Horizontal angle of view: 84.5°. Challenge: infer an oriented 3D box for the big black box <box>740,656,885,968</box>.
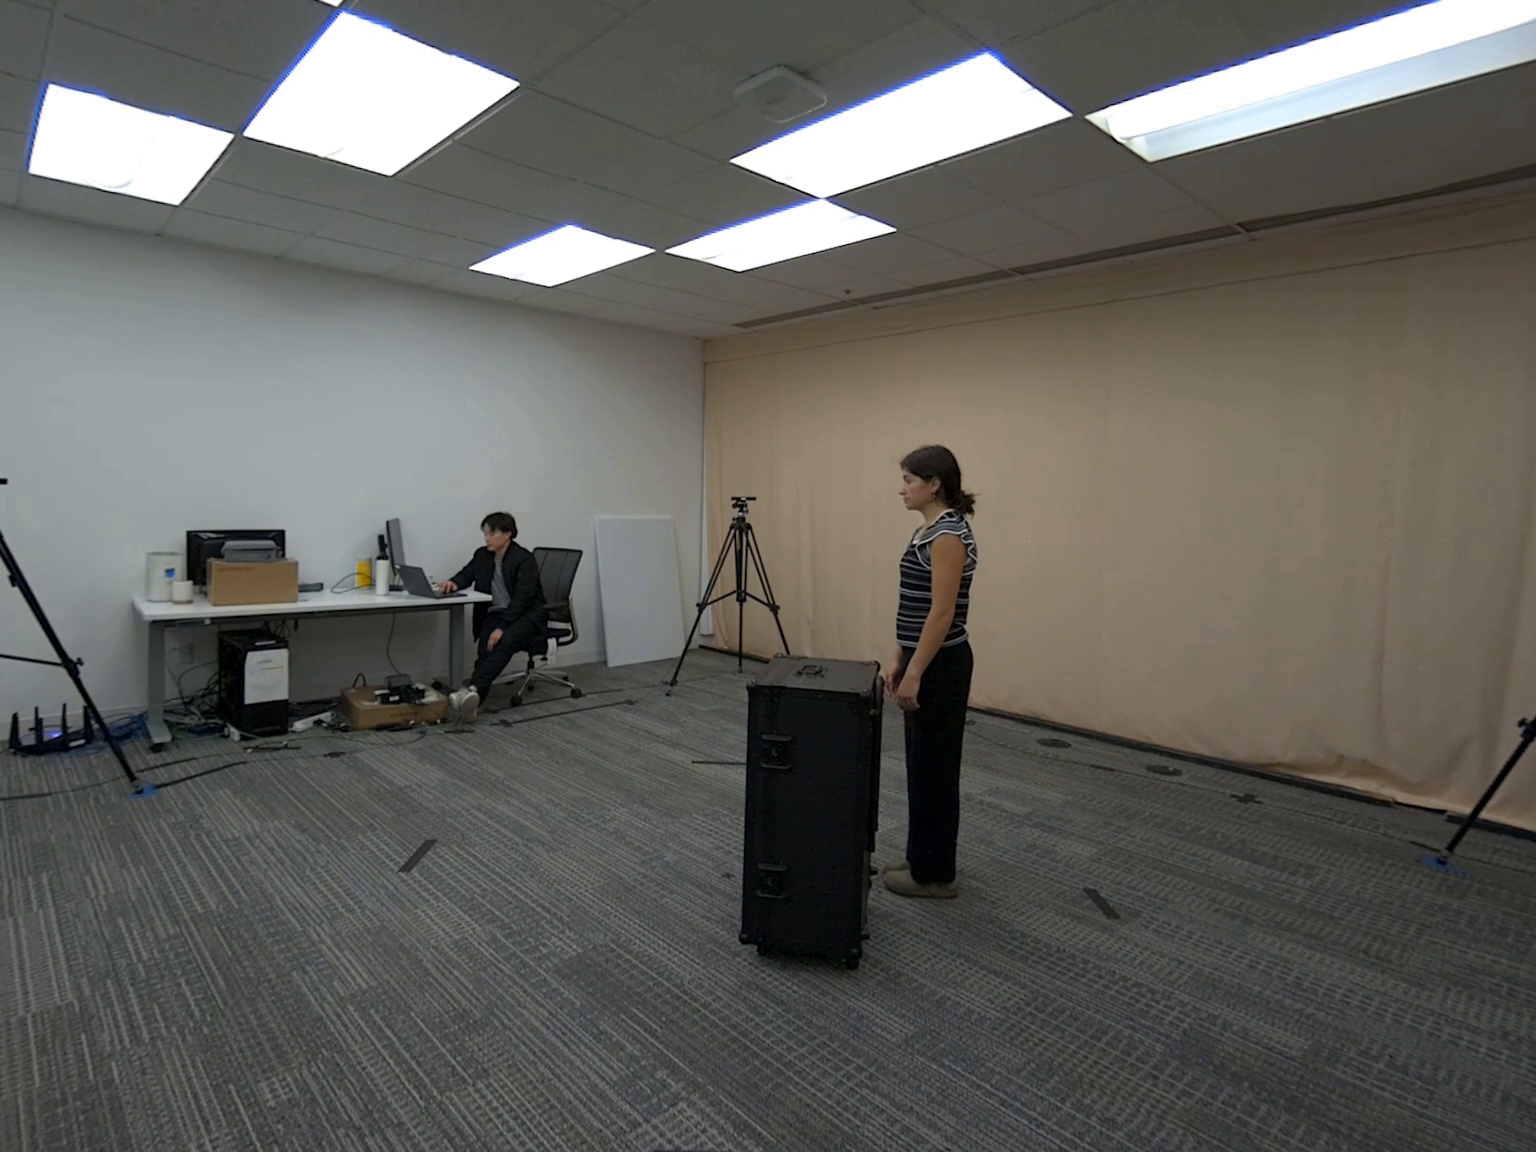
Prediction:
[{"bbox_3d":[0.150,0.728,2.668,0.401,0.859,0.517,3,3,12],"label":"big black box"}]
